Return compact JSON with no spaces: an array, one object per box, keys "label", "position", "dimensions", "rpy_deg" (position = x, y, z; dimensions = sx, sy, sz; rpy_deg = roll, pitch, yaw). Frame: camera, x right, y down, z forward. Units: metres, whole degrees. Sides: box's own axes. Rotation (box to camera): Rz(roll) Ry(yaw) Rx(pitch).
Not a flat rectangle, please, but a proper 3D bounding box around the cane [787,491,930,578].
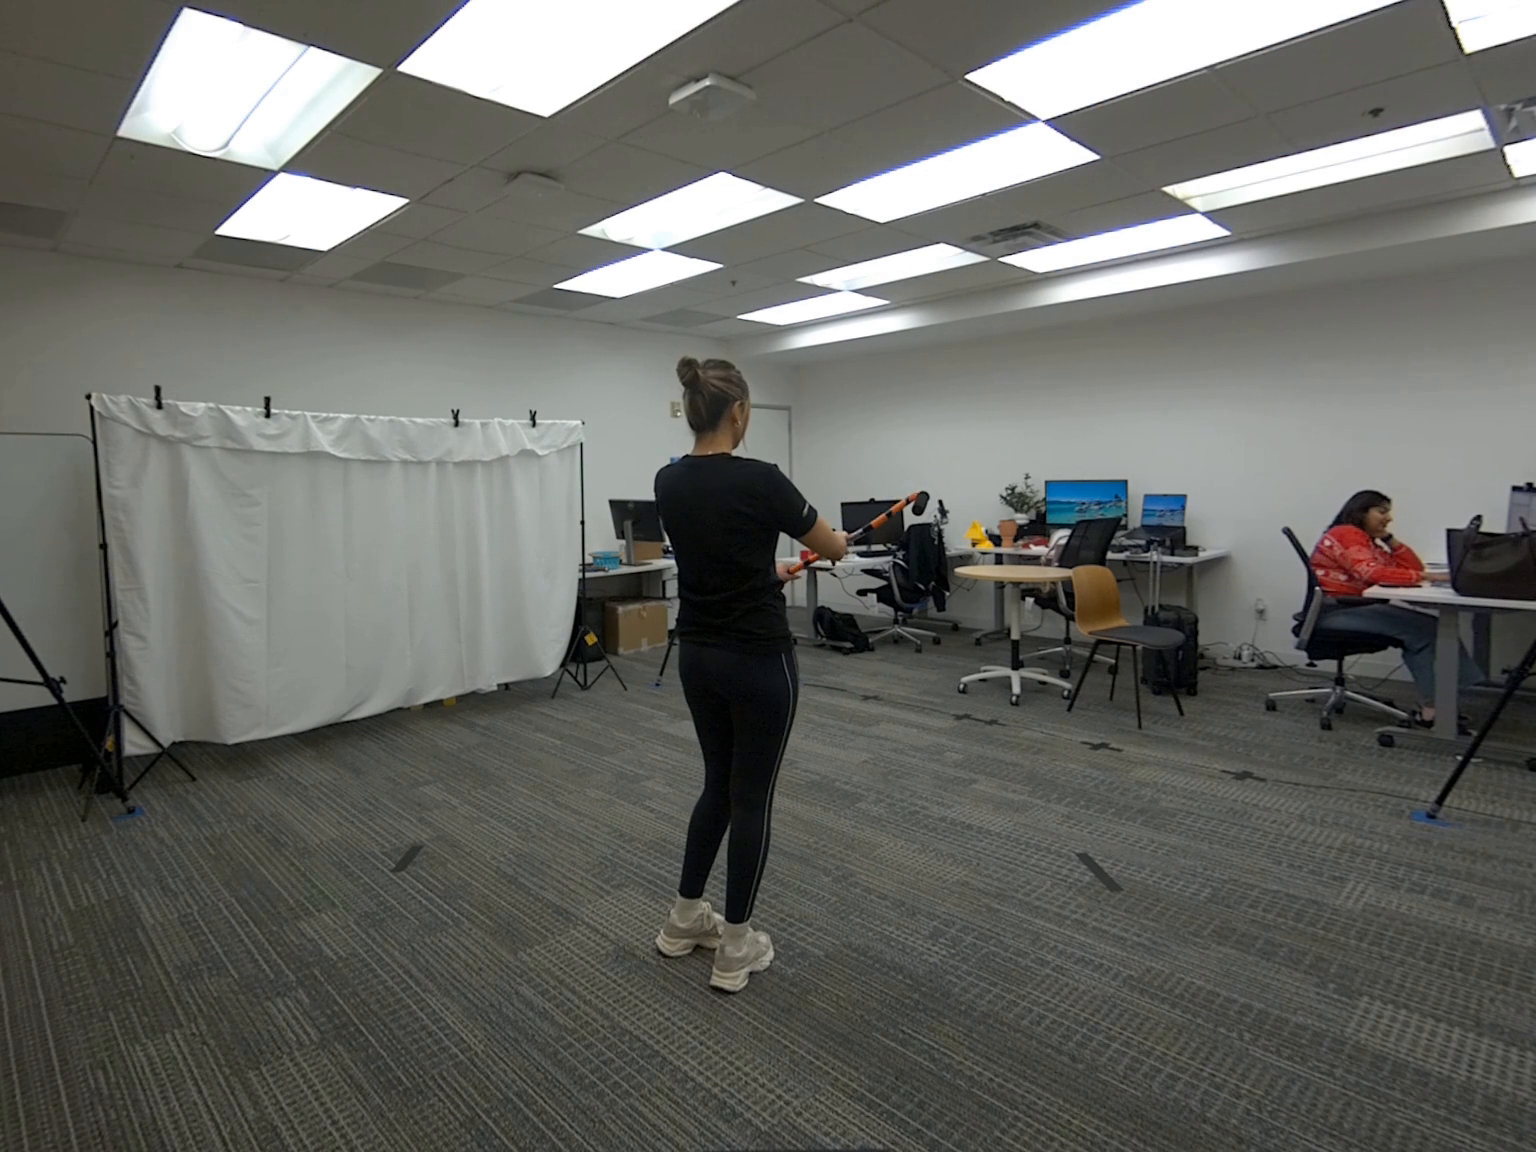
[{"label":"cane","position":[0.147,-0.039,2.763],"dimensions":[0.917,0.151,0.205],"rpy_deg":[-30,6,34]}]
